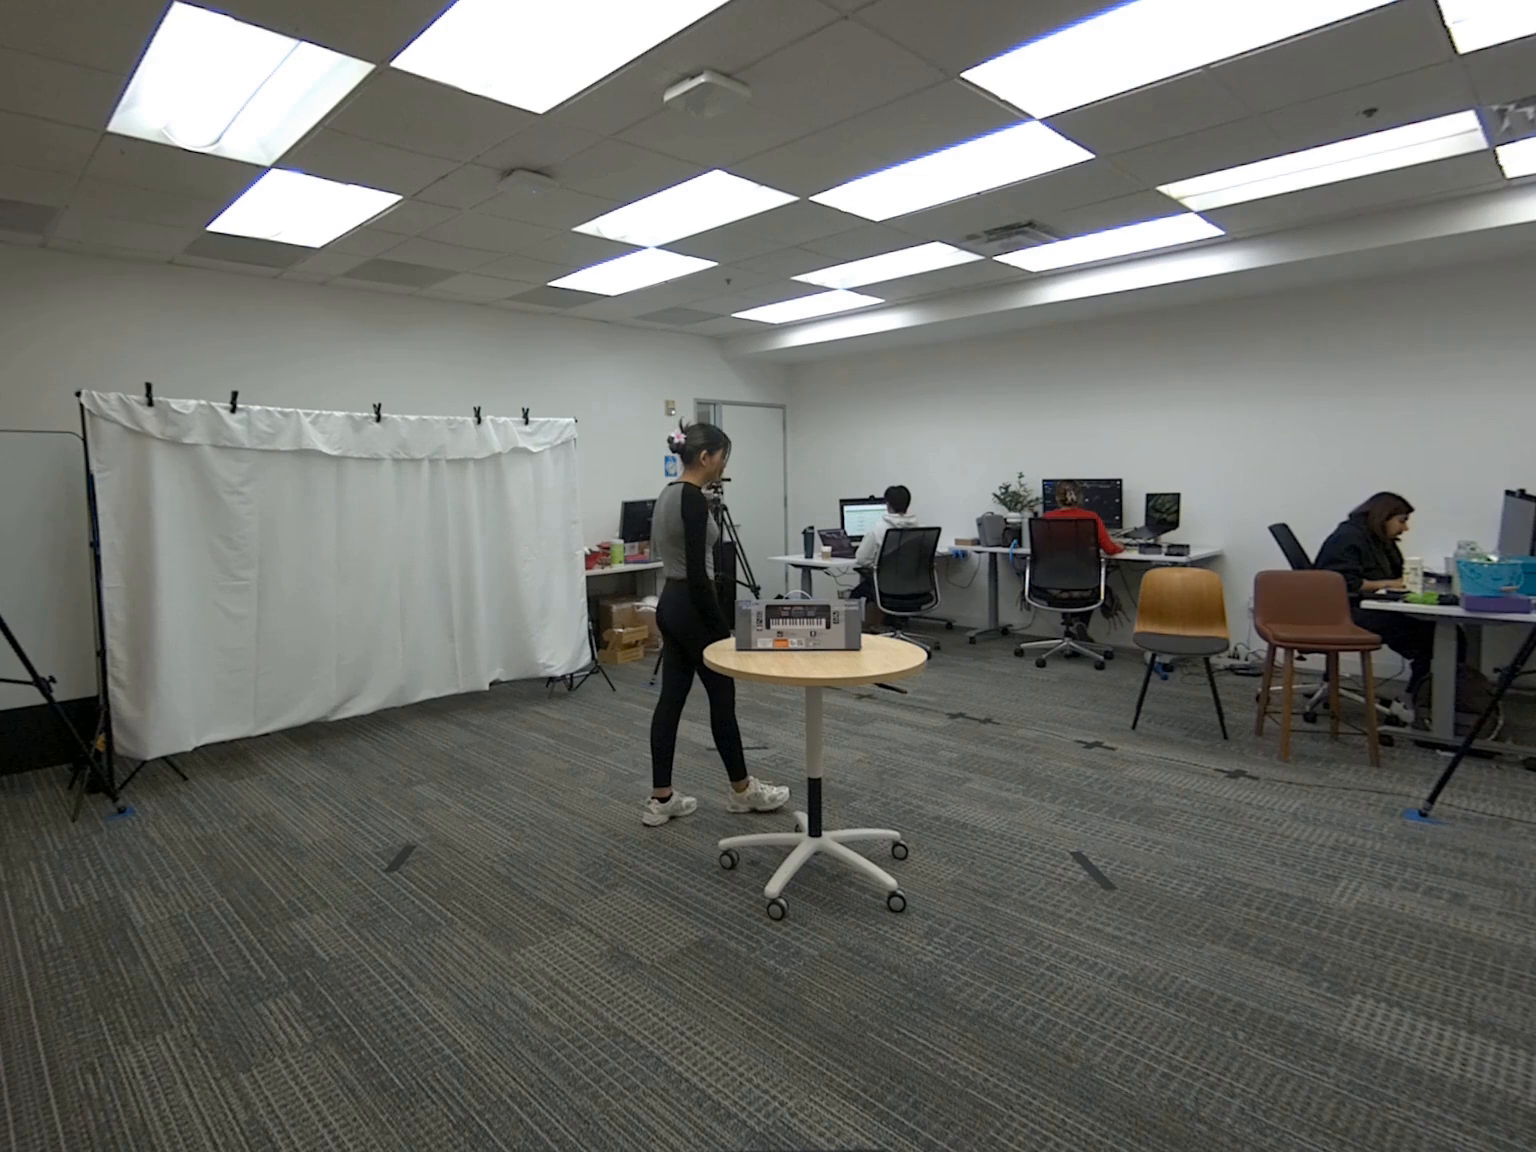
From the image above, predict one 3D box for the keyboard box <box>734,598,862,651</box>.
[{"bbox_3d":[0.106,0.164,2.995,0.437,0.176,0.059,-1,0,2],"label":"keyboard box"}]
